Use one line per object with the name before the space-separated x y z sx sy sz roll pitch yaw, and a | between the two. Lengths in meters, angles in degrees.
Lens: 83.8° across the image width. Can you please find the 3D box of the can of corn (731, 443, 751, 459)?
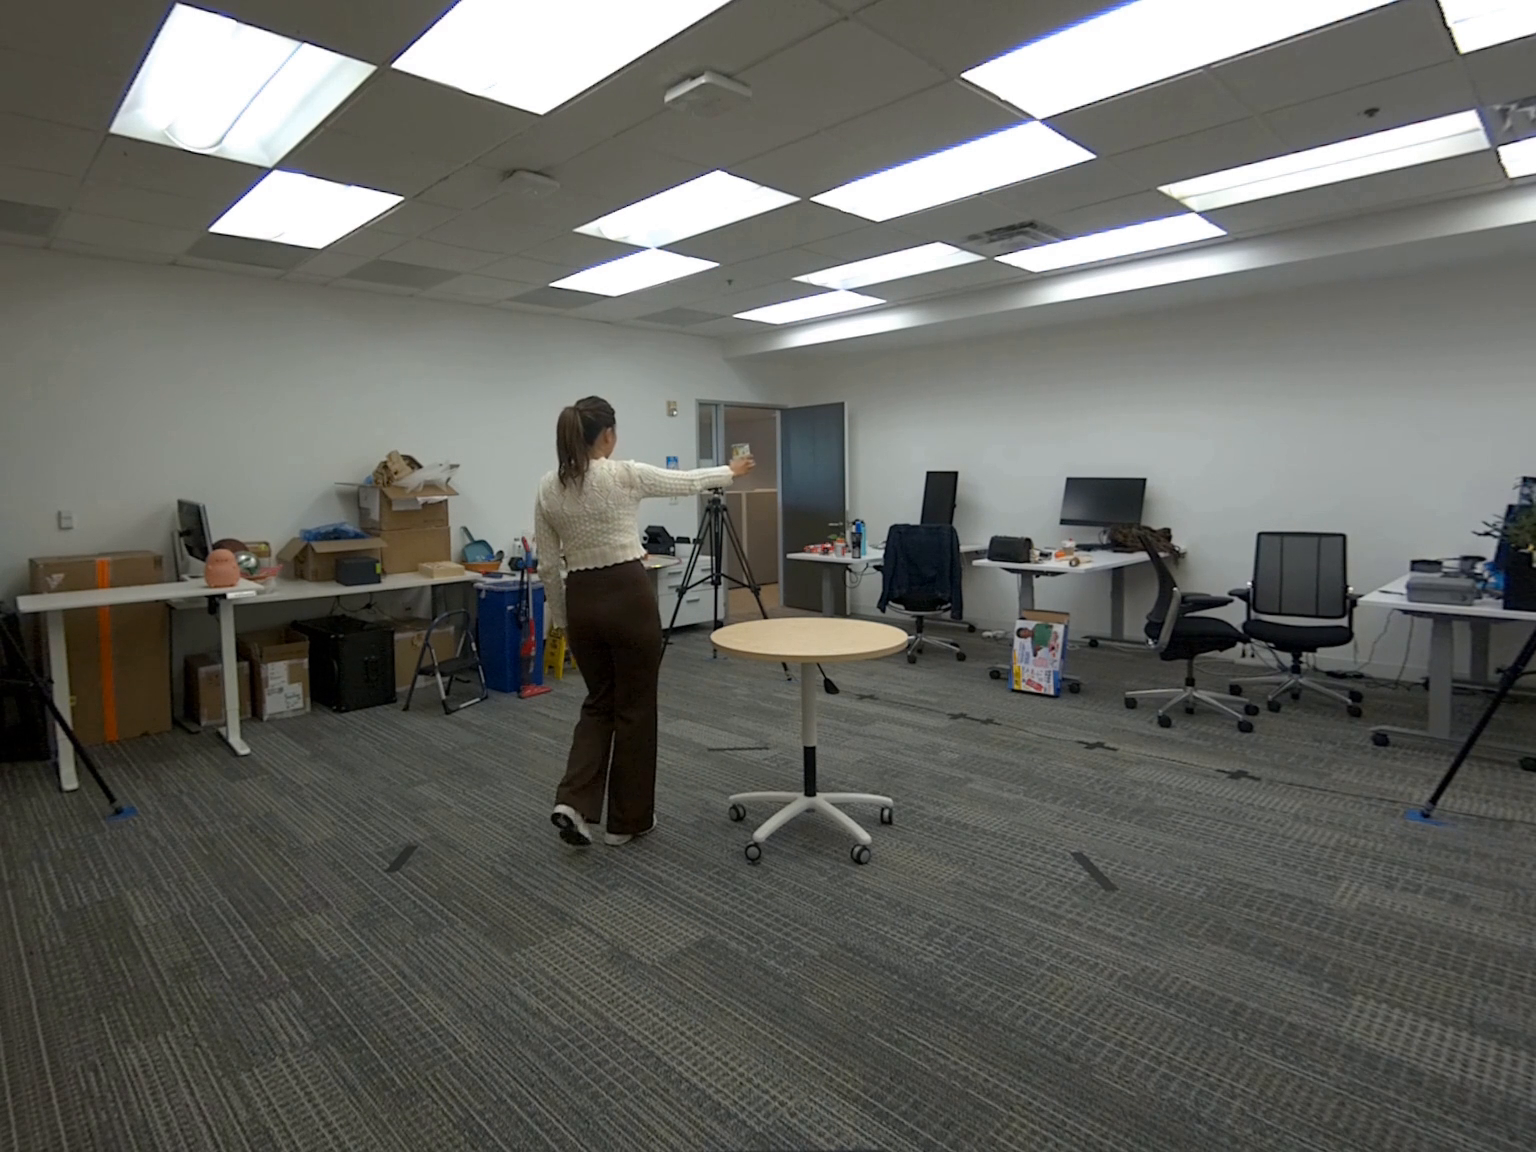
can of corn | -0.121 -0.509 3.671 0.074 0.110 0.075 -5 11 -1
